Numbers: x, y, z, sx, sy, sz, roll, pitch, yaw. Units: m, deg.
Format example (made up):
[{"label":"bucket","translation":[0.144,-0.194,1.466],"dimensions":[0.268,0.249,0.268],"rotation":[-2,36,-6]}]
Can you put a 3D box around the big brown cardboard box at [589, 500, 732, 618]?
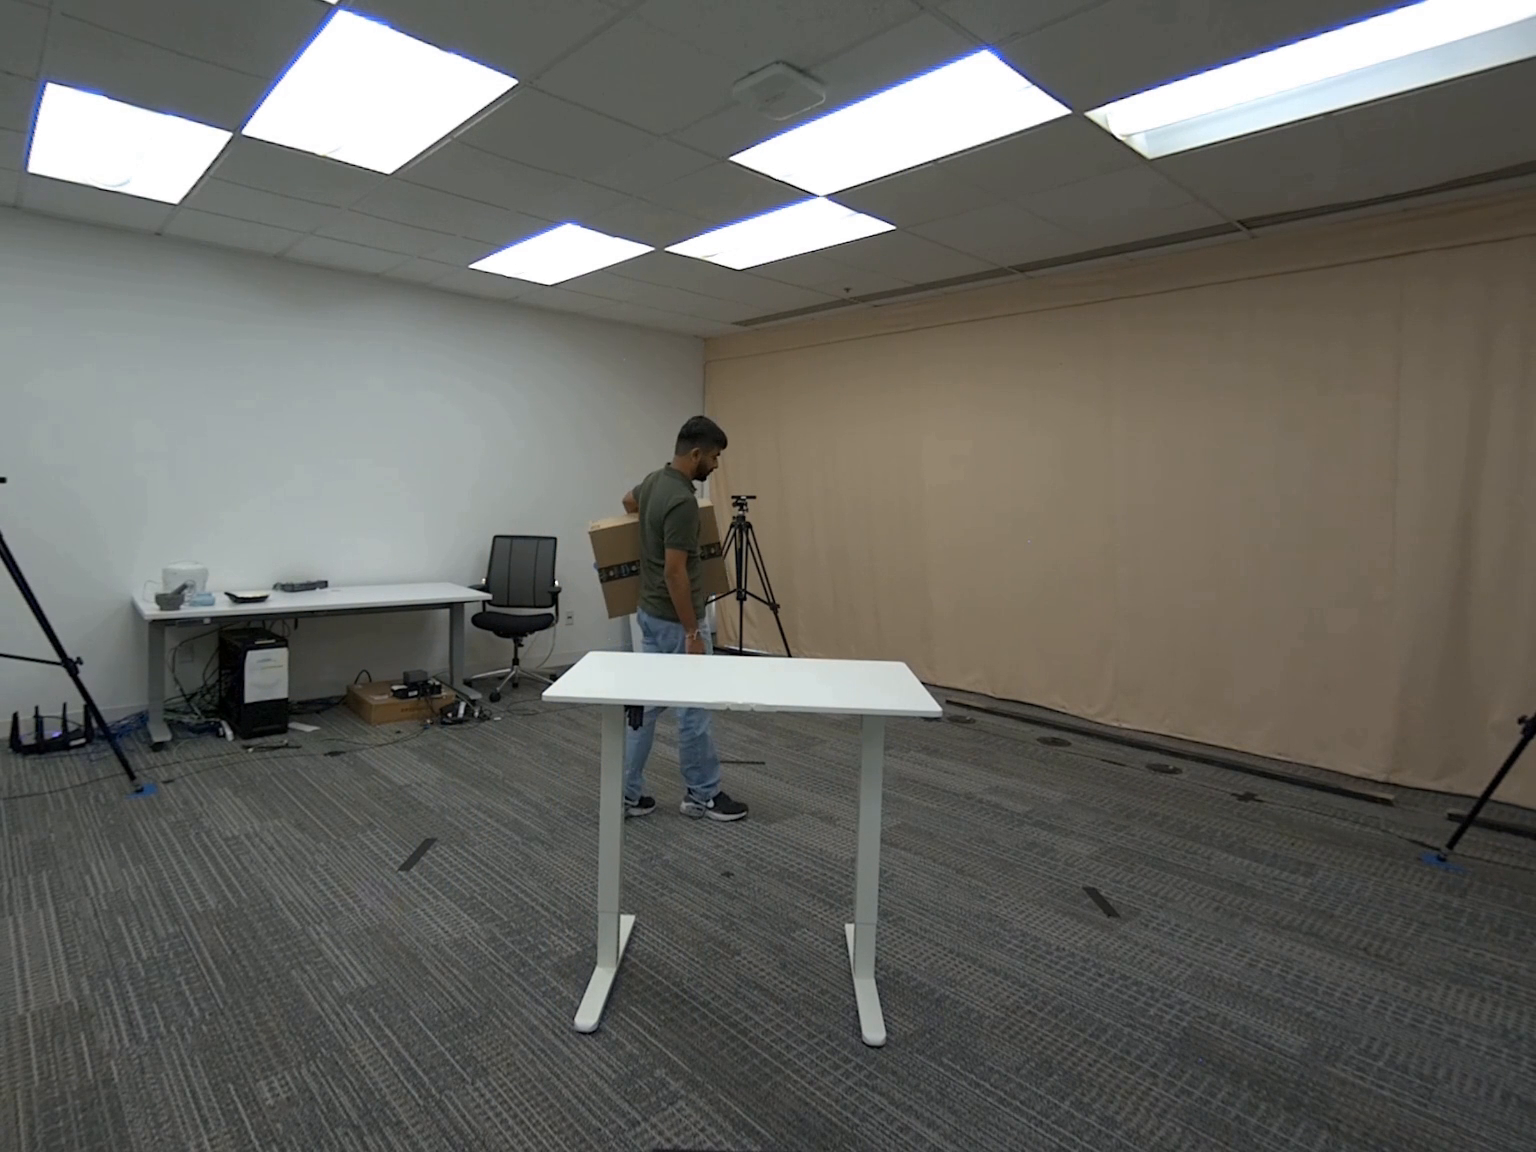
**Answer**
[{"label":"big brown cardboard box","translation":[-0.510,-0.084,3.862],"dimensions":[0.587,0.413,0.236],"rotation":[-11,13,-5]}]
